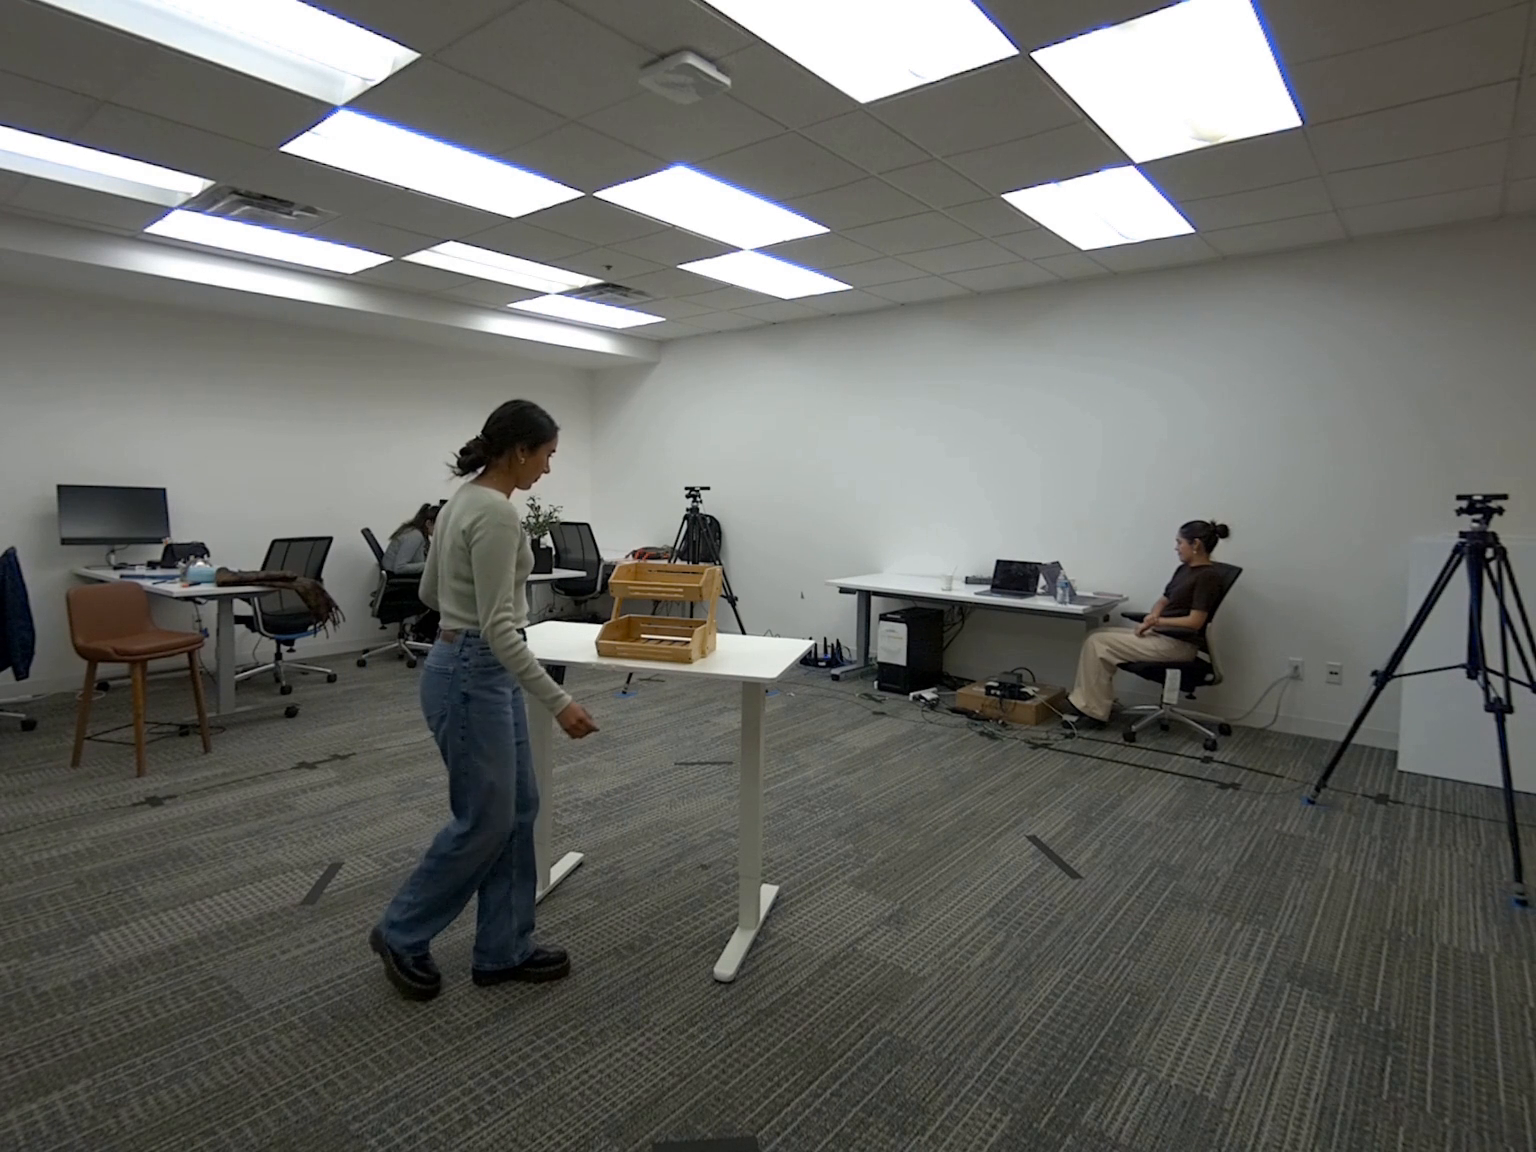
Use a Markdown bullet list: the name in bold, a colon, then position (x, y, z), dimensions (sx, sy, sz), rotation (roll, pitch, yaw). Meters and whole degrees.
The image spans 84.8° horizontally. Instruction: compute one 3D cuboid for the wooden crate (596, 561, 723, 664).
- **wooden crate**: position (-0.333, 0.100, 2.610), dimensions (0.329, 0.272, 0.298), rotation (2, 4, 13)
